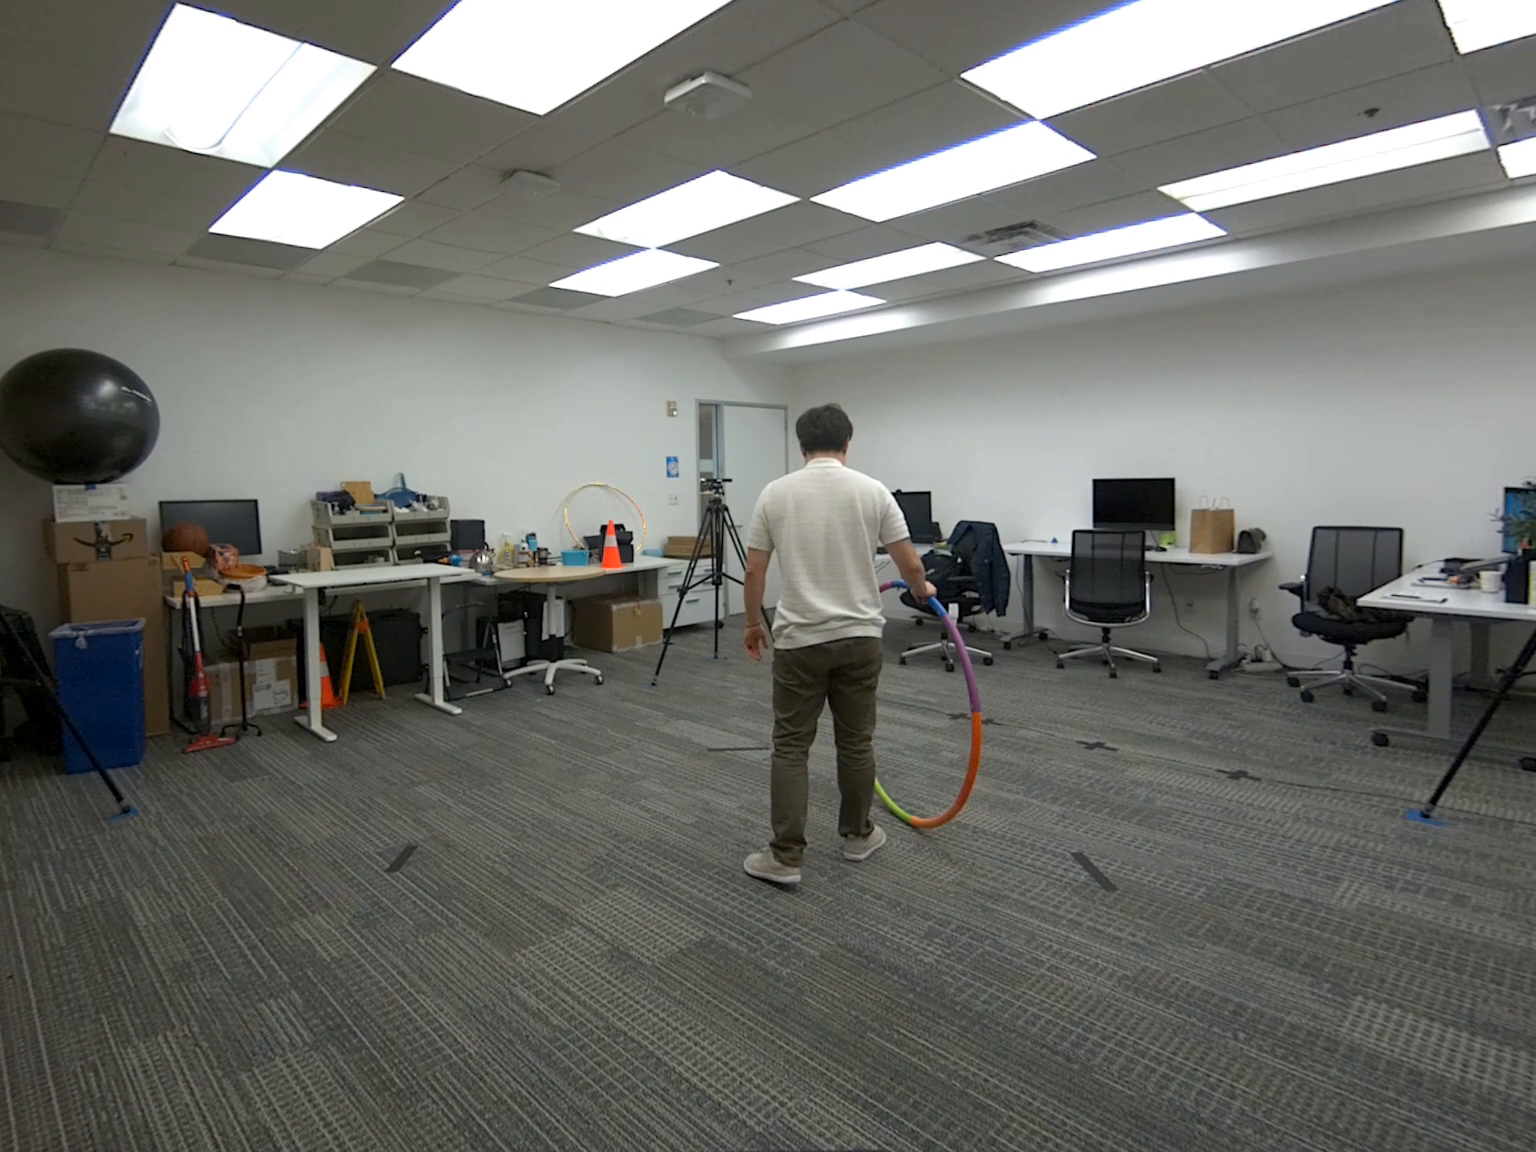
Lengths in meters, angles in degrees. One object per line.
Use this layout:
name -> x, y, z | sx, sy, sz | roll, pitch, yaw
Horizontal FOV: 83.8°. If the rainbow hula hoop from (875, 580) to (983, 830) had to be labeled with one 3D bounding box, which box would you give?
rainbow hula hoop -> 0.545, 0.504, 3.464 | 0.035, 0.975, 1.000 | -1, 4, -21
